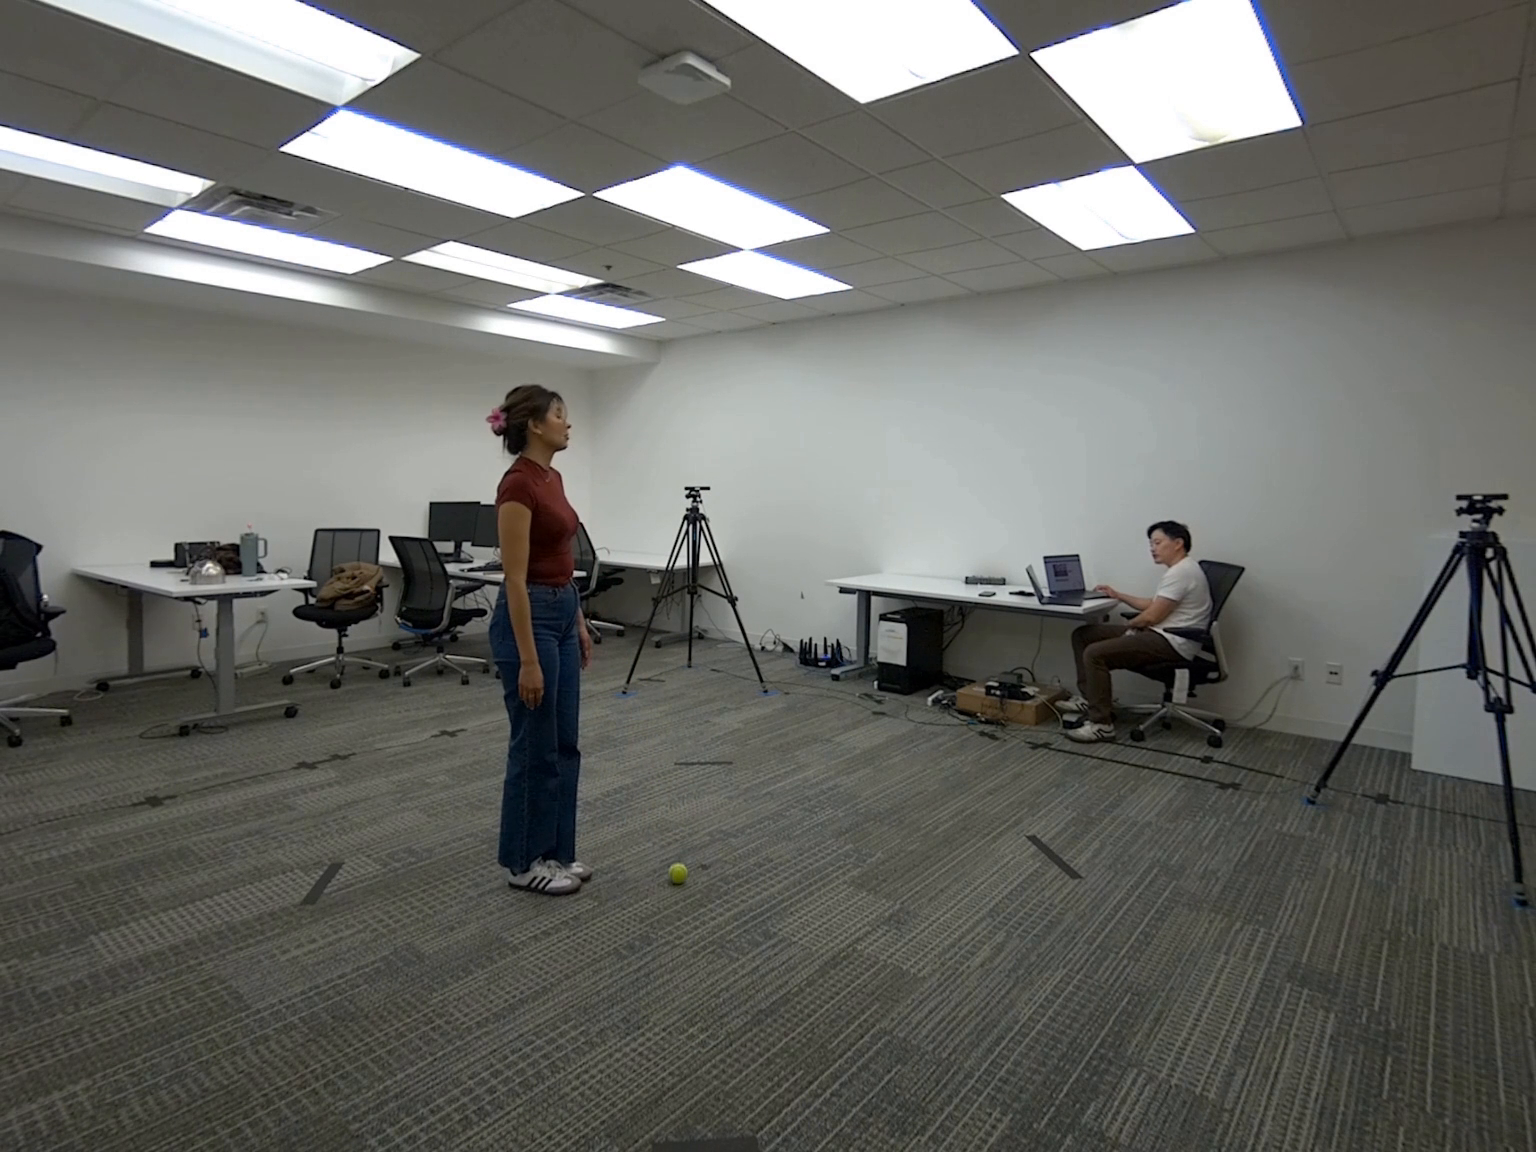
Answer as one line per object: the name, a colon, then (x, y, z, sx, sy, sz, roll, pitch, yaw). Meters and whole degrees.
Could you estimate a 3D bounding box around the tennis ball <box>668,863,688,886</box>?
tennis ball: (-0.335, 1.042, 2.982, 0.066, 0.066, 0.067, 1, 4, -2)
